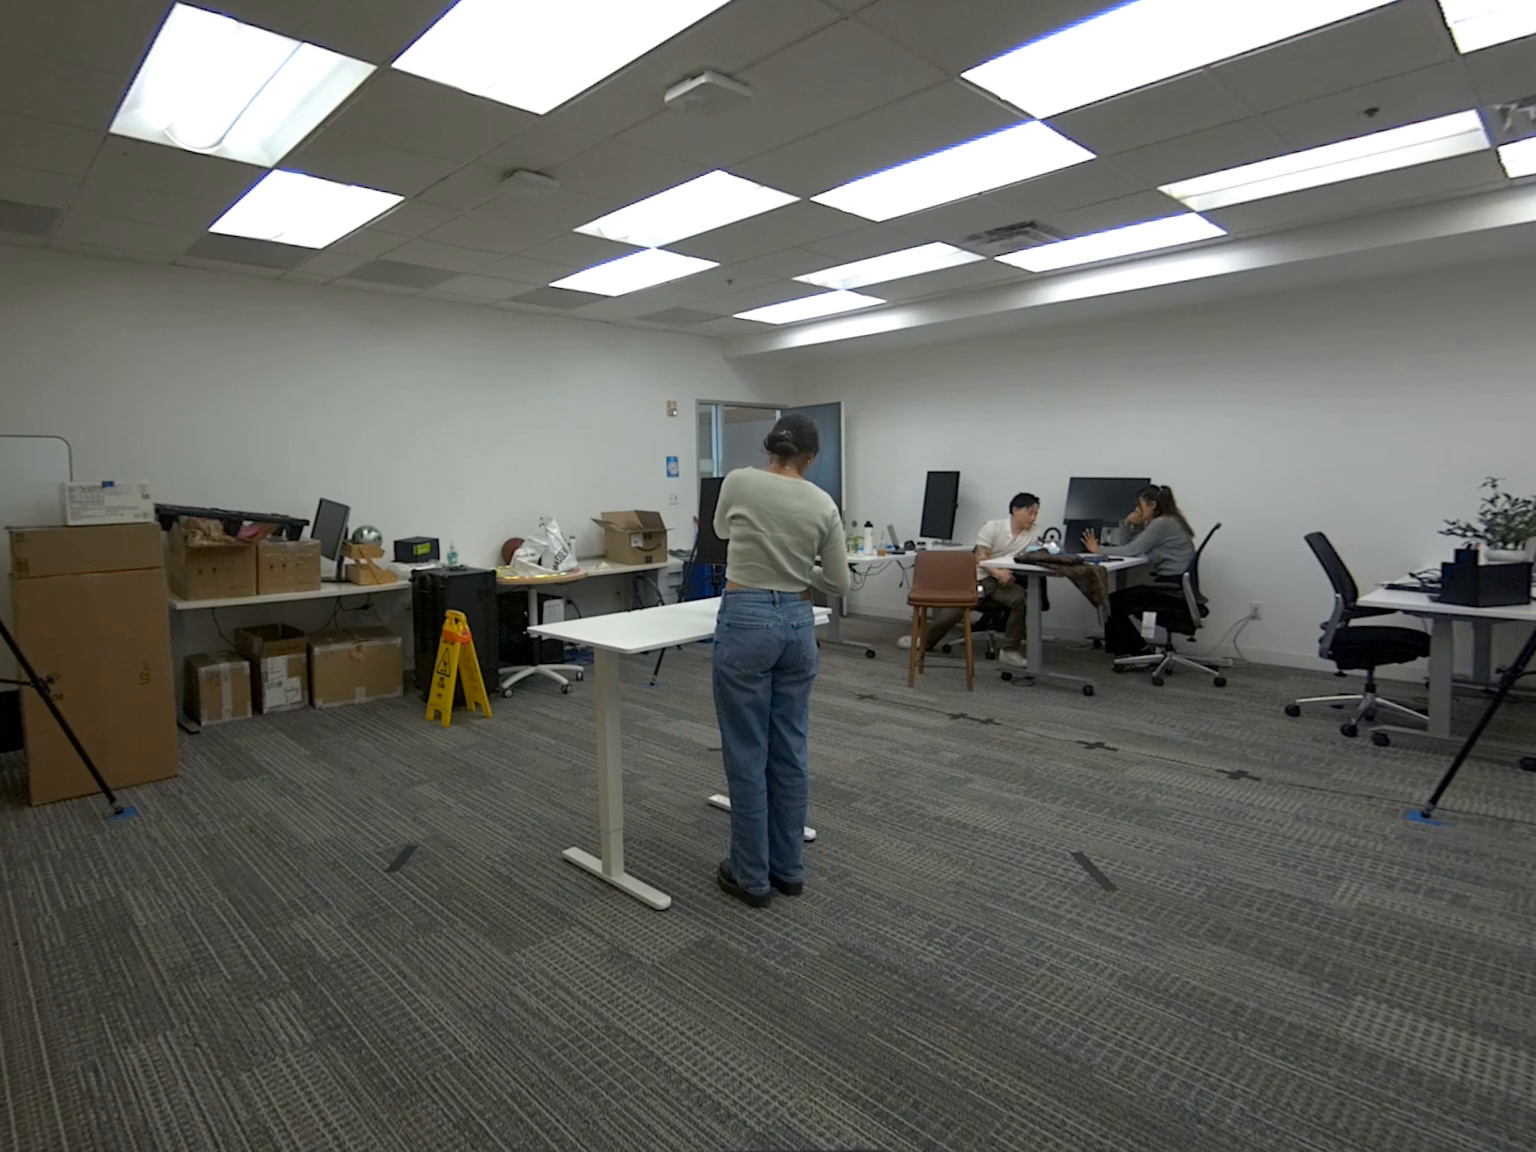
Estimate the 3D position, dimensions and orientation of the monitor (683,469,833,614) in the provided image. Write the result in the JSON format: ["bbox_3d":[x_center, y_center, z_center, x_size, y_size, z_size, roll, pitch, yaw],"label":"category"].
[{"bbox_3d":[-0.050,-0.132,3.342,0.183,0.518,0.555,-14,11,-43],"label":"monitor"}]
